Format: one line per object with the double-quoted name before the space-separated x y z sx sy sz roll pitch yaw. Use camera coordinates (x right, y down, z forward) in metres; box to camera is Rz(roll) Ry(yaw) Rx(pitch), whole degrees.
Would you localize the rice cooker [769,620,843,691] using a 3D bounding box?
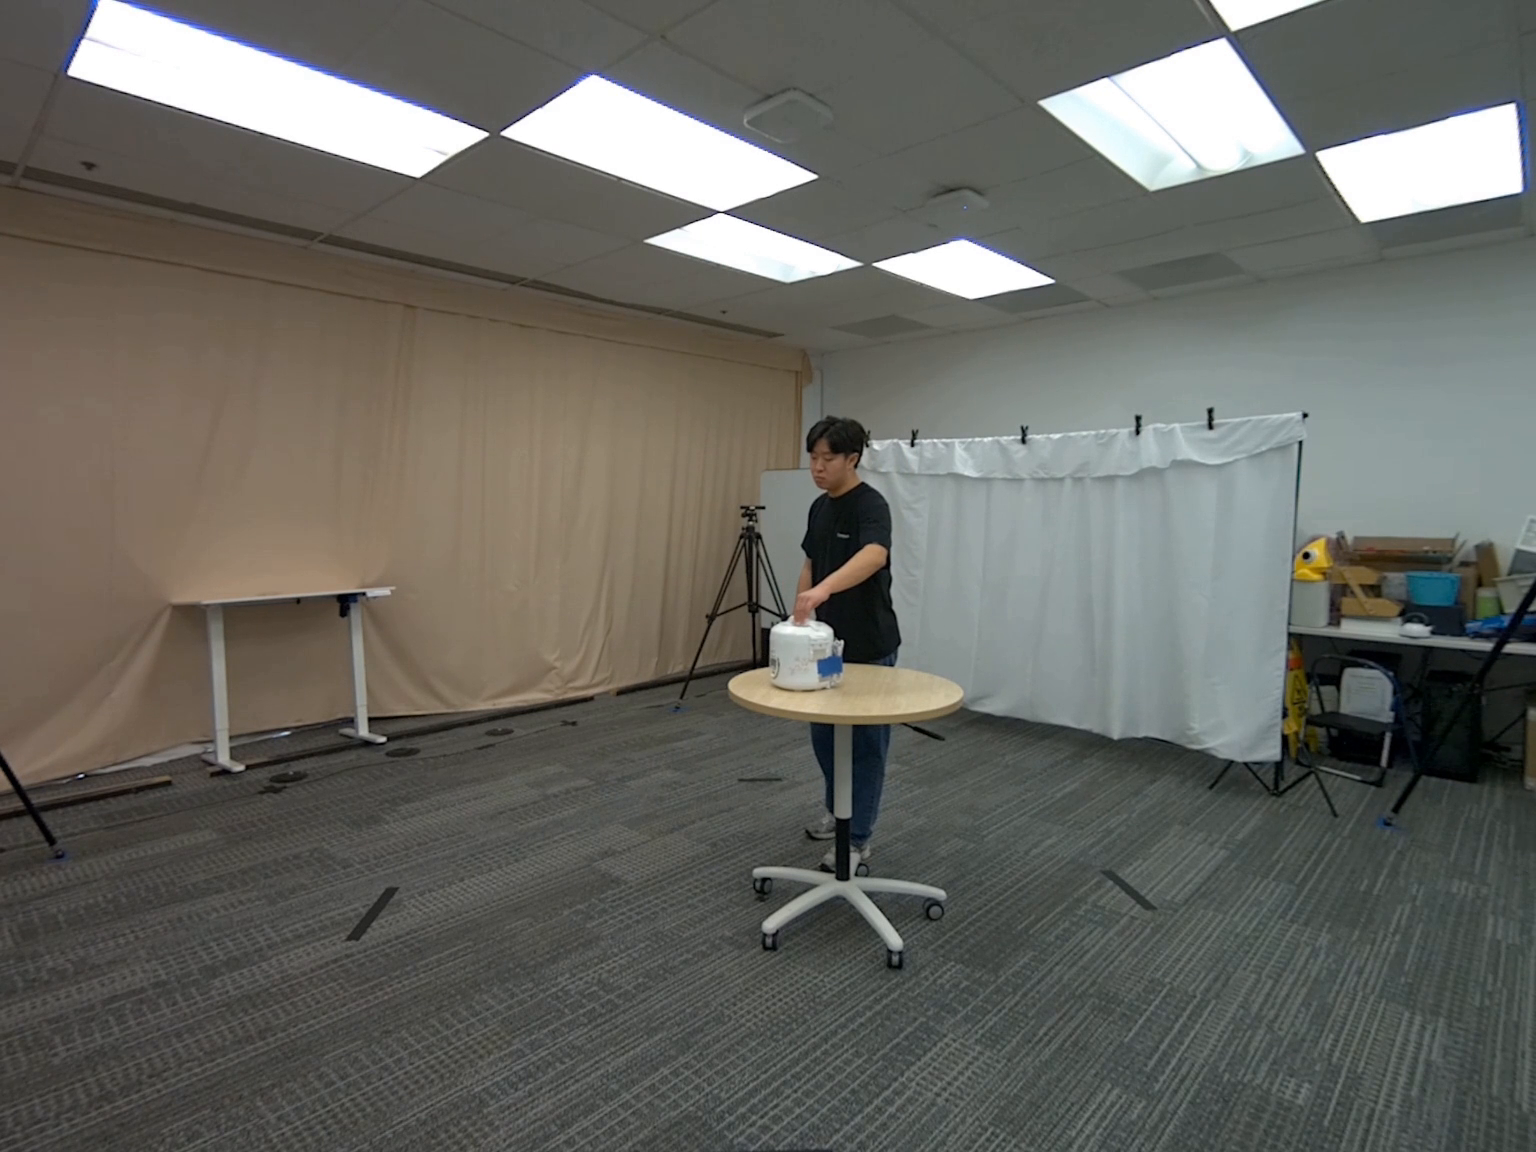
"rice cooker" 0.116 0.249 2.775 0.212 0.232 0.226 -1 3 -27
